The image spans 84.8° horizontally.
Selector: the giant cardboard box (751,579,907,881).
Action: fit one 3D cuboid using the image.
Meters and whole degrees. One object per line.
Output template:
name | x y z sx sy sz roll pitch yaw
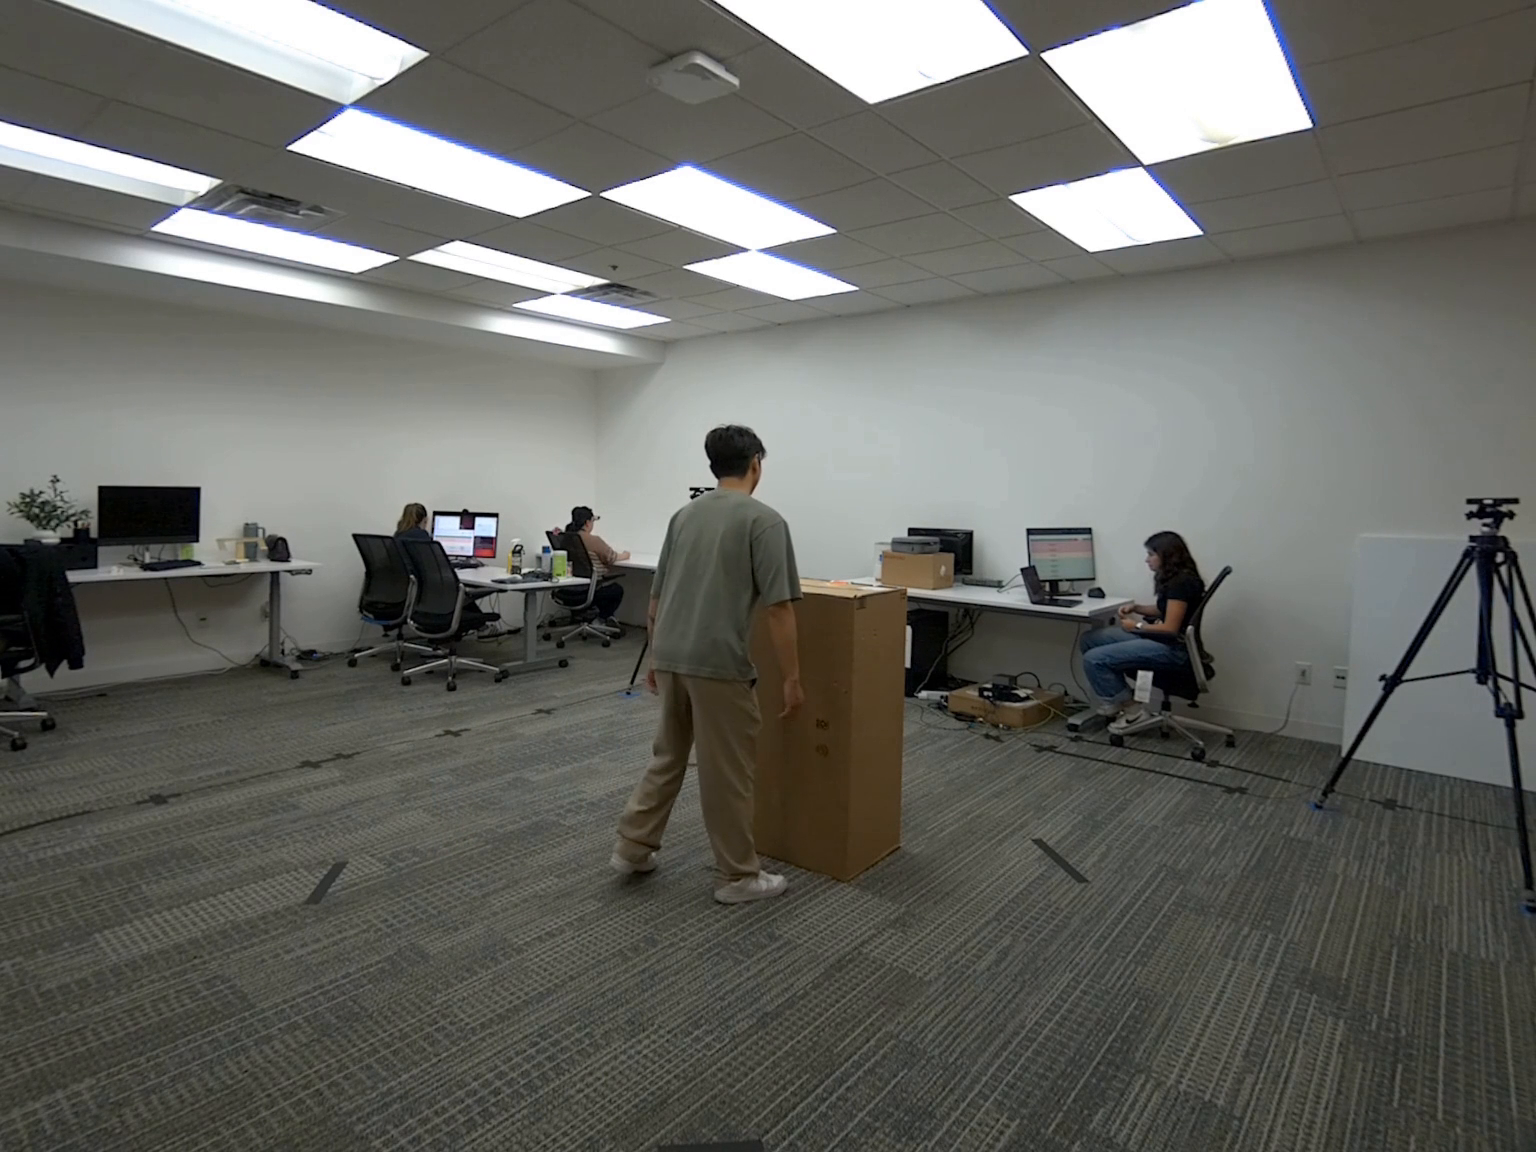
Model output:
giant cardboard box | 0.175 0.543 3.335 0.596 1.023 0.414 3 4 36
